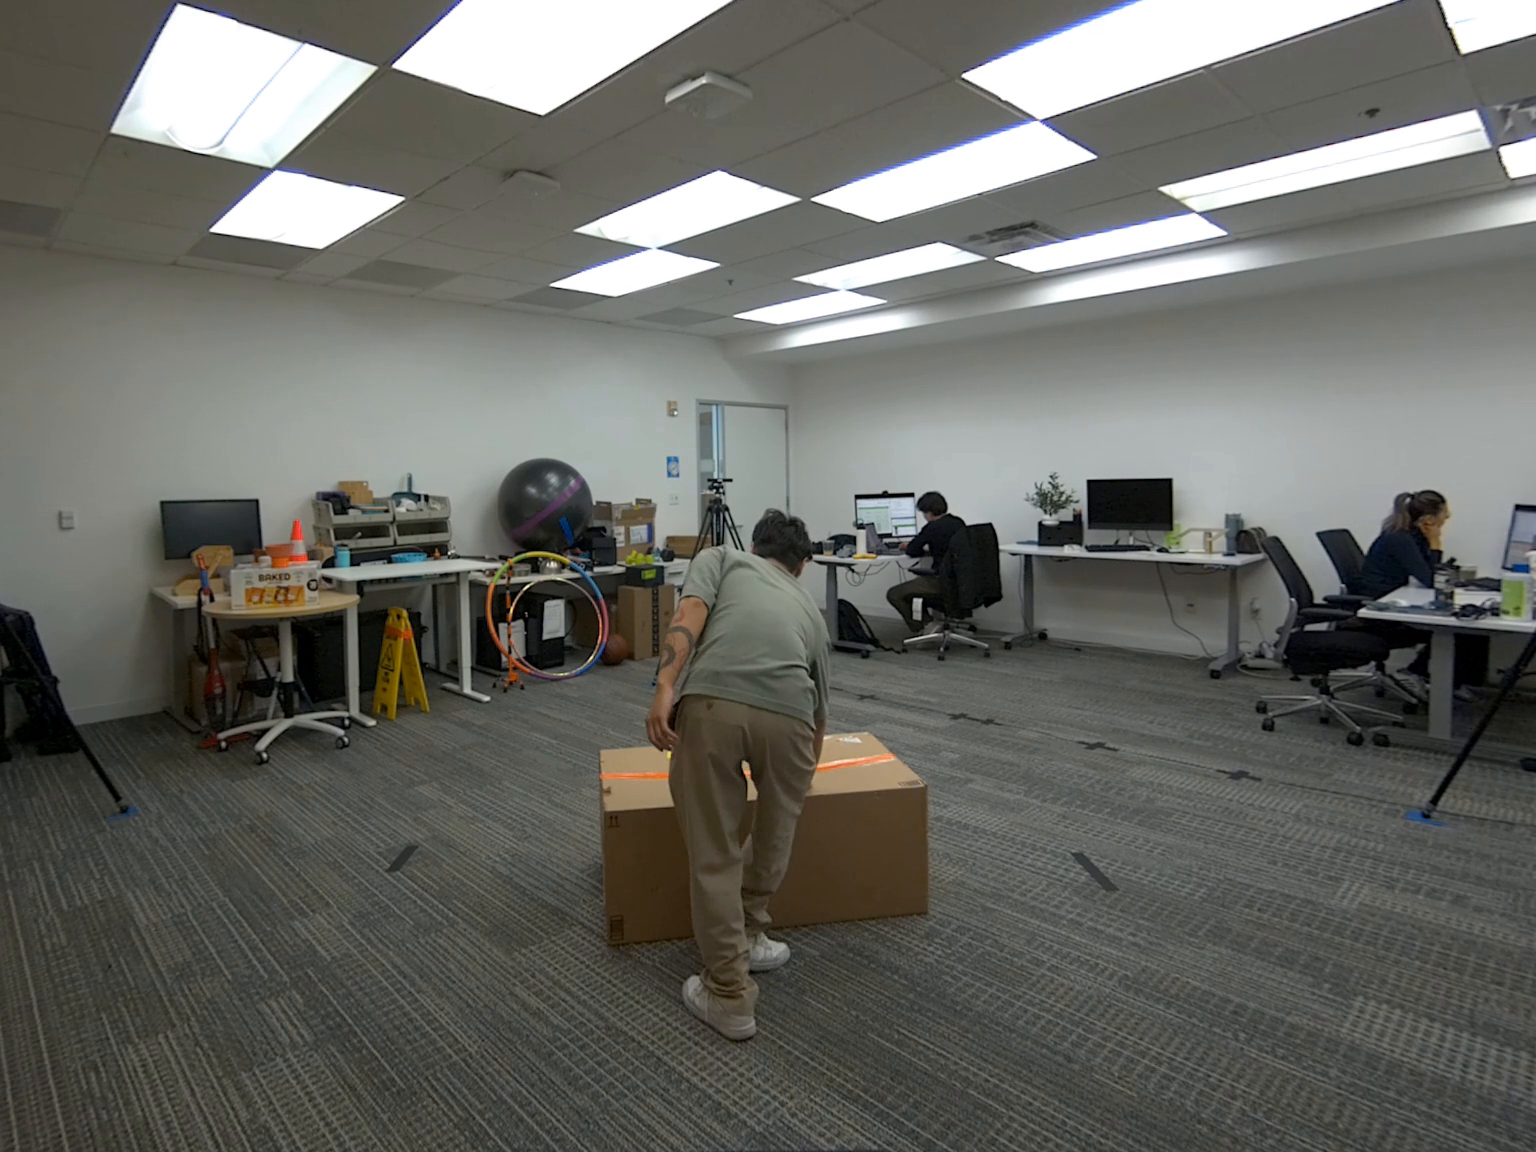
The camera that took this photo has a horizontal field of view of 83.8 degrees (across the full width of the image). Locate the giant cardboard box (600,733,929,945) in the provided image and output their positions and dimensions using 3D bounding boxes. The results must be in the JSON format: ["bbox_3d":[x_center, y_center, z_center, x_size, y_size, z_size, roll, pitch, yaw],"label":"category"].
[{"bbox_3d":[-0.049,0.854,2.915,1.017,0.424,0.585,-2,6,-10],"label":"giant cardboard box"}]
